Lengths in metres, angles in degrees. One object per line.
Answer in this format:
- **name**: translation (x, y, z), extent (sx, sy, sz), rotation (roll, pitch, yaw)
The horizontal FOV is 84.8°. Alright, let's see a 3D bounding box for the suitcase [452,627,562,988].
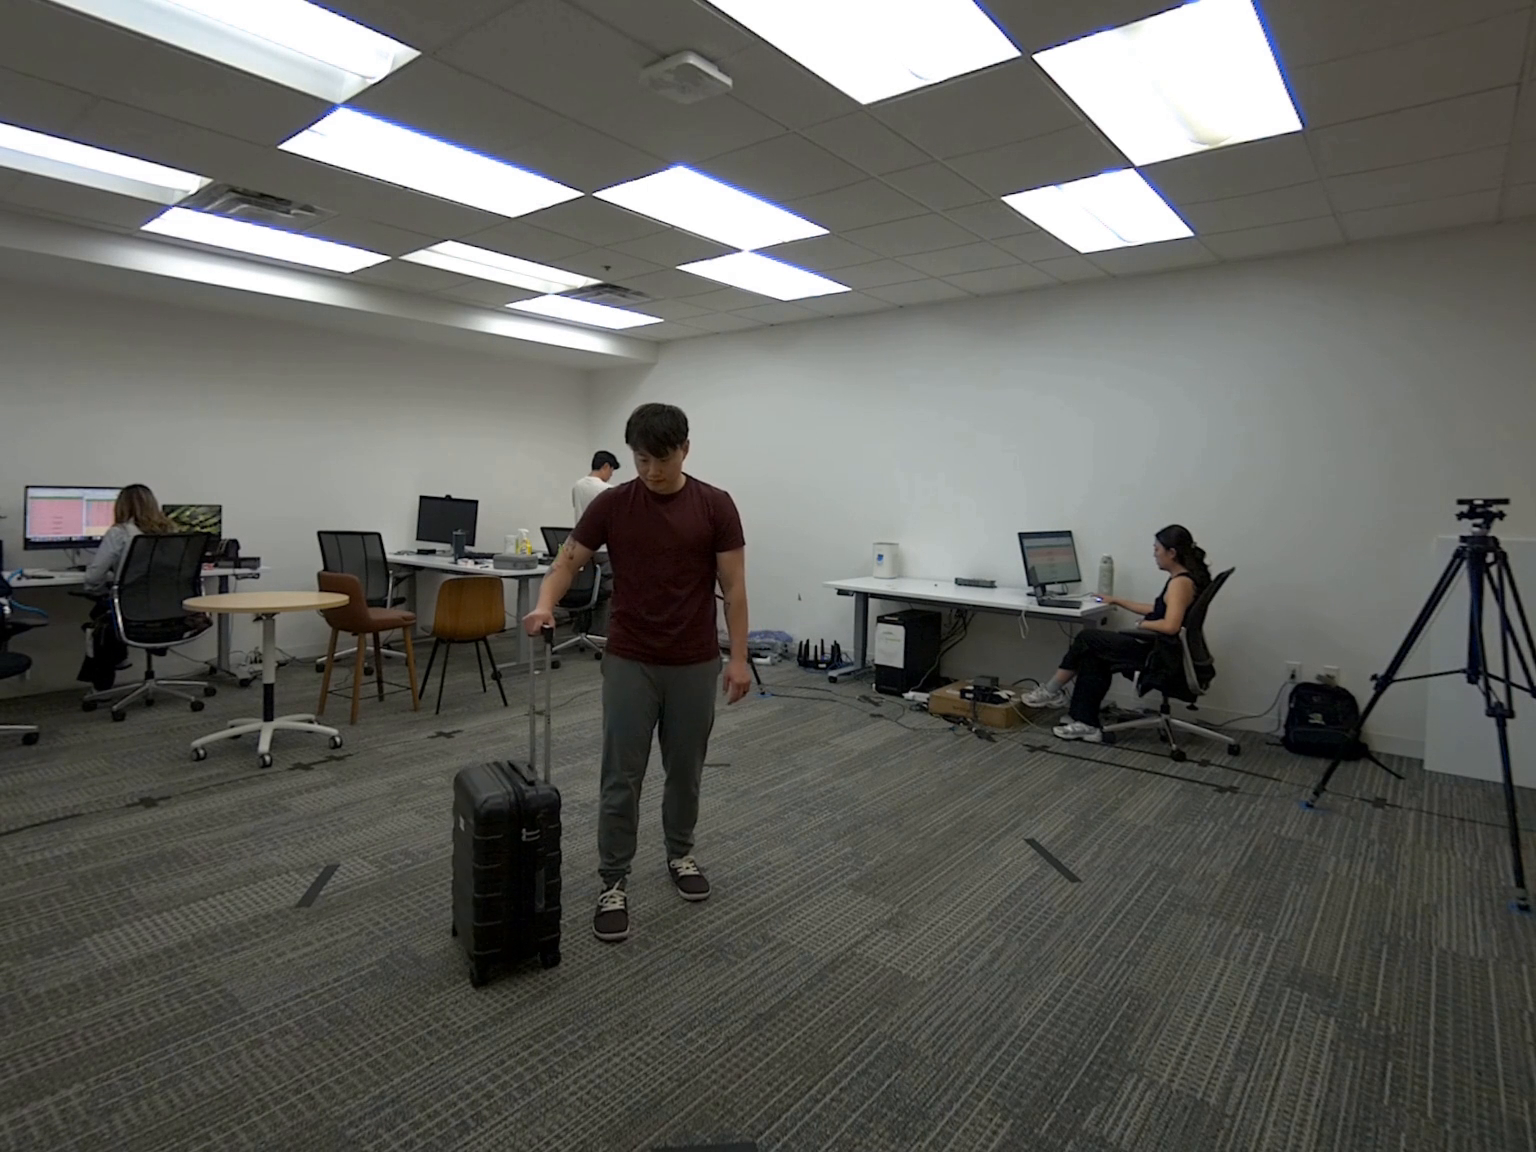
- **suitcase**: translation (-0.789, 0.641, 2.503), extent (0.251, 0.975, 0.395), rotation (0, 4, -26)
